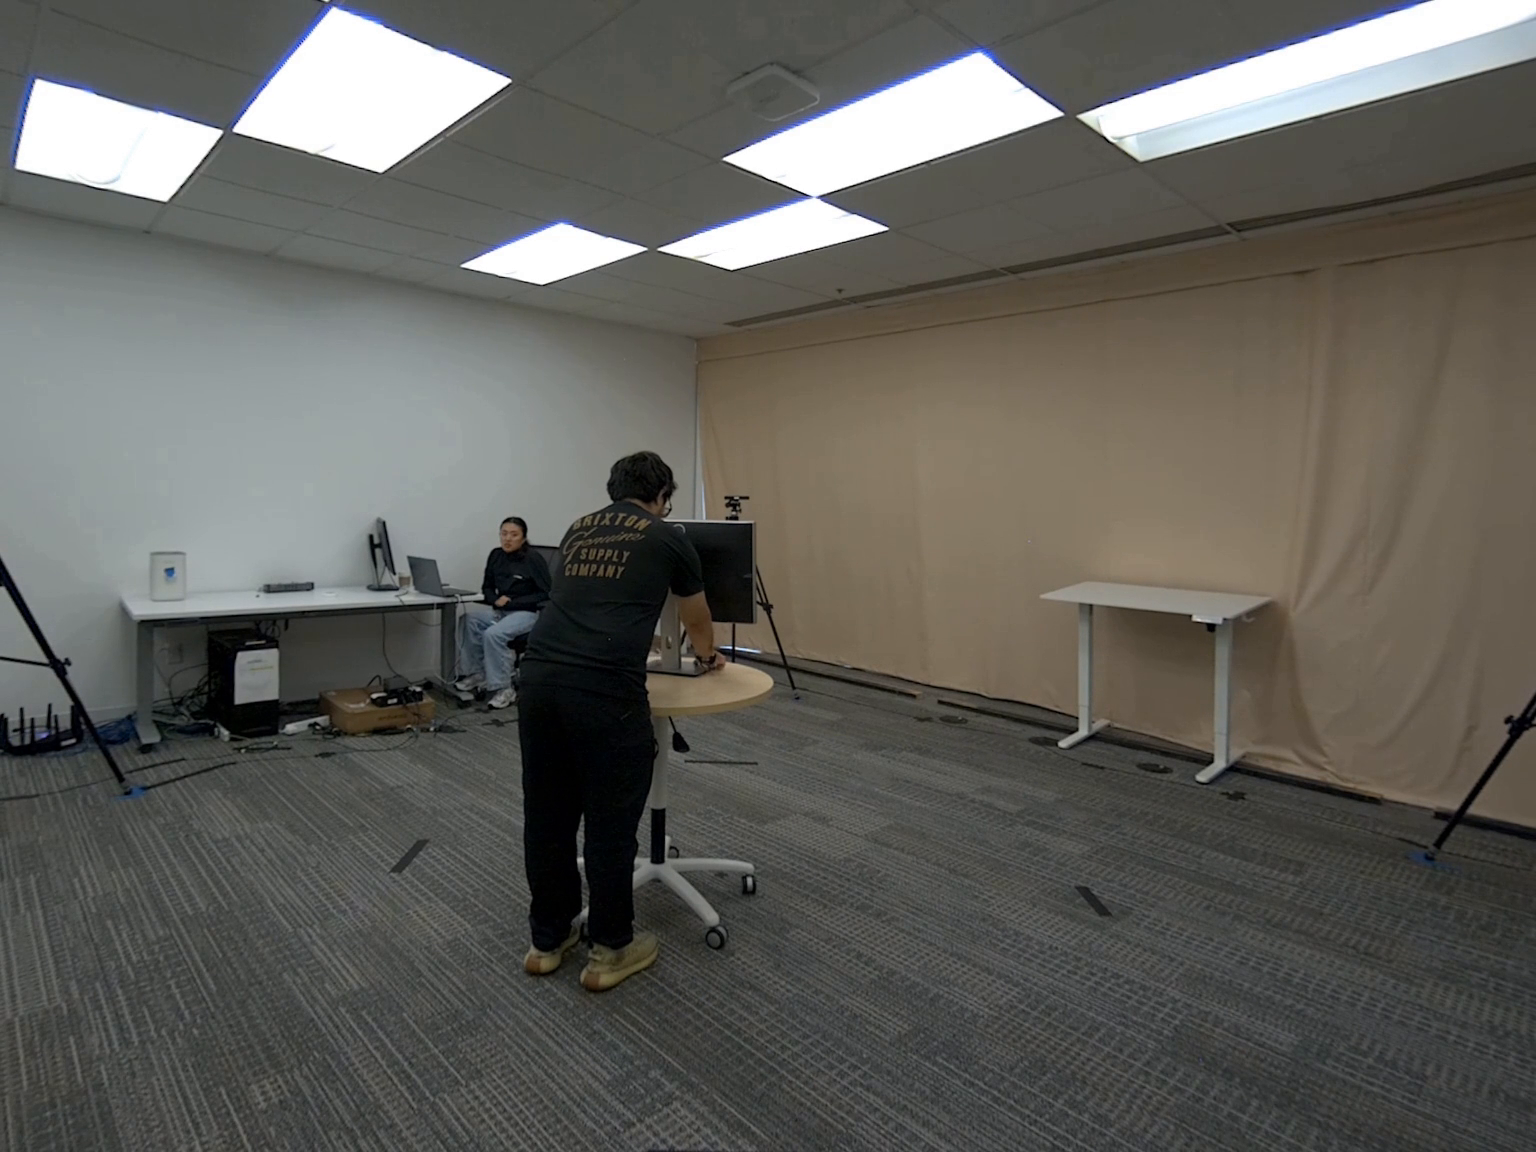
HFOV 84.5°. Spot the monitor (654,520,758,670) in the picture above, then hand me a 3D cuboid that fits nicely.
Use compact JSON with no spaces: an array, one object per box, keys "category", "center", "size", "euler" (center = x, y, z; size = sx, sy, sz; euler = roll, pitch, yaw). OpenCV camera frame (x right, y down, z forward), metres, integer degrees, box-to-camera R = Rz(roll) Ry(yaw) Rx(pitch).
[{"category":"monitor","center":[-0.333,0.077,2.970],"size":[0.575,0.552,0.207],"euler":[3,5,21]}]
